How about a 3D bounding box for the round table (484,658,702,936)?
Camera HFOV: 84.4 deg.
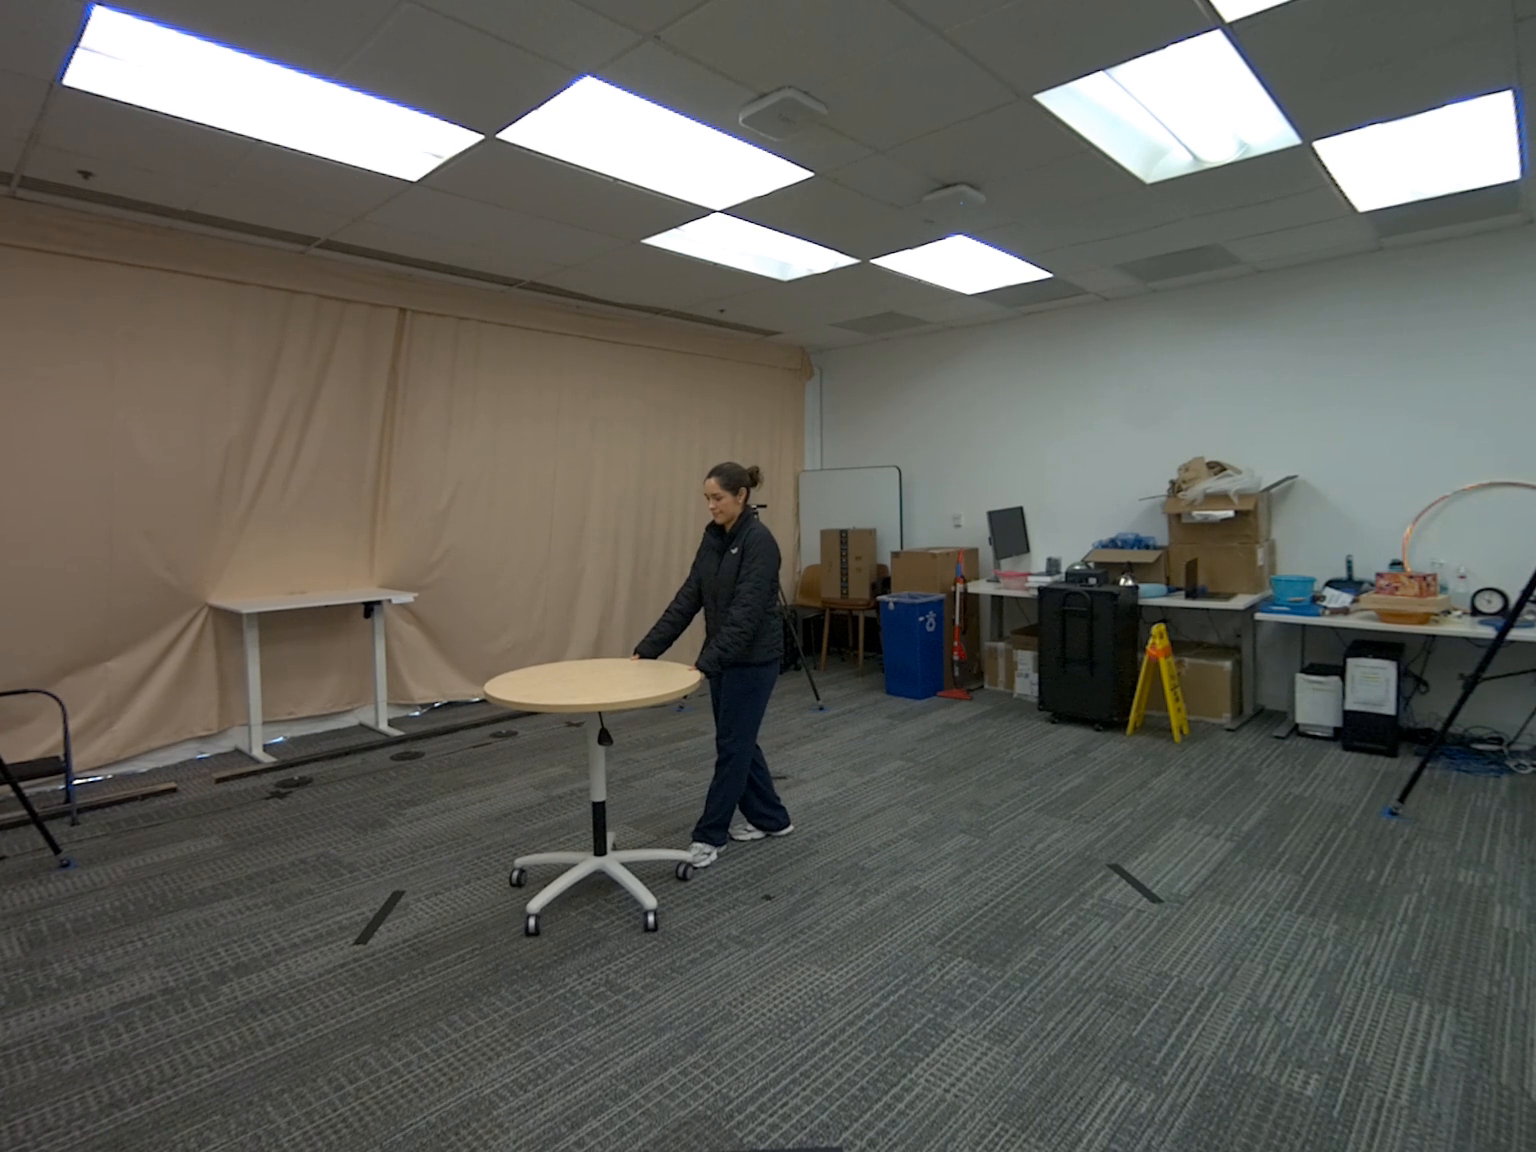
[{"bbox_3d":[-0.584,0.756,3.029,0.784,0.784,0.788,-2,4,-2],"label":"round table"}]
